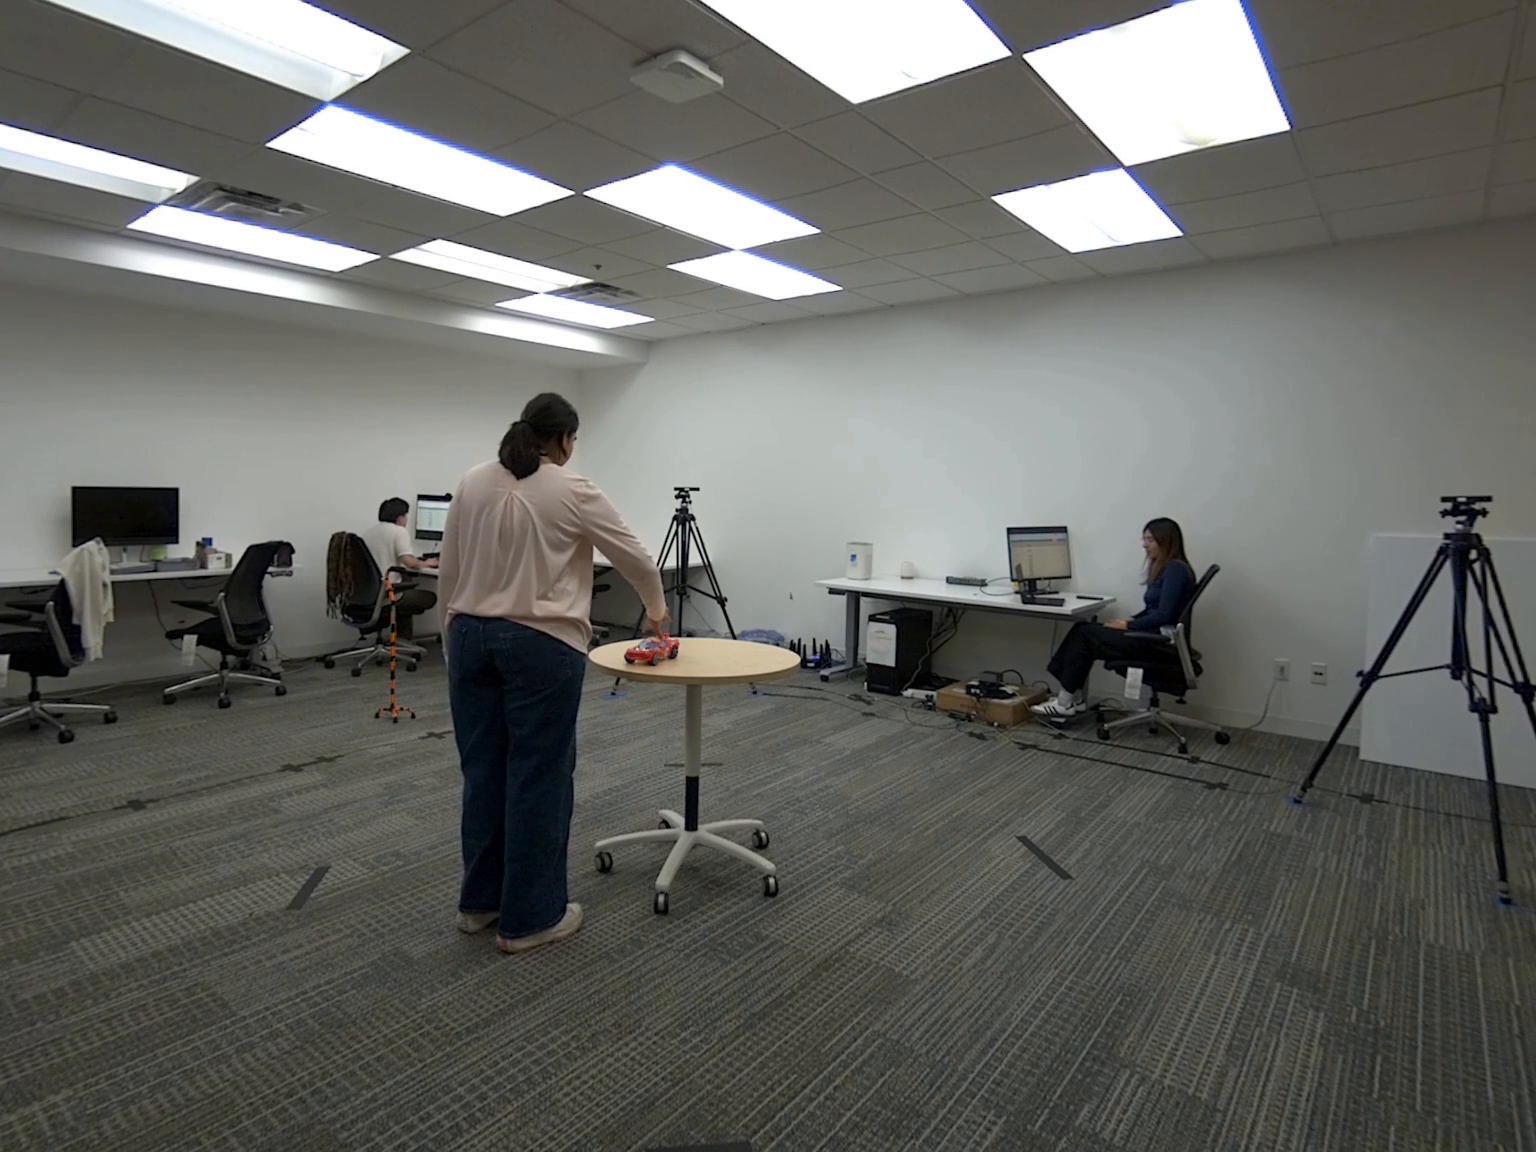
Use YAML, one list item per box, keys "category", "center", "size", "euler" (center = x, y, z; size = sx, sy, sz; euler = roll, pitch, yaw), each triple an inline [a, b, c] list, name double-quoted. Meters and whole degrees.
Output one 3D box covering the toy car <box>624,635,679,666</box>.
- category: "toy car"
  center: [-0.402, 0.260, 2.985]
  size: [0.133, 0.082, 0.252]
  euler: [2, 16, 20]
